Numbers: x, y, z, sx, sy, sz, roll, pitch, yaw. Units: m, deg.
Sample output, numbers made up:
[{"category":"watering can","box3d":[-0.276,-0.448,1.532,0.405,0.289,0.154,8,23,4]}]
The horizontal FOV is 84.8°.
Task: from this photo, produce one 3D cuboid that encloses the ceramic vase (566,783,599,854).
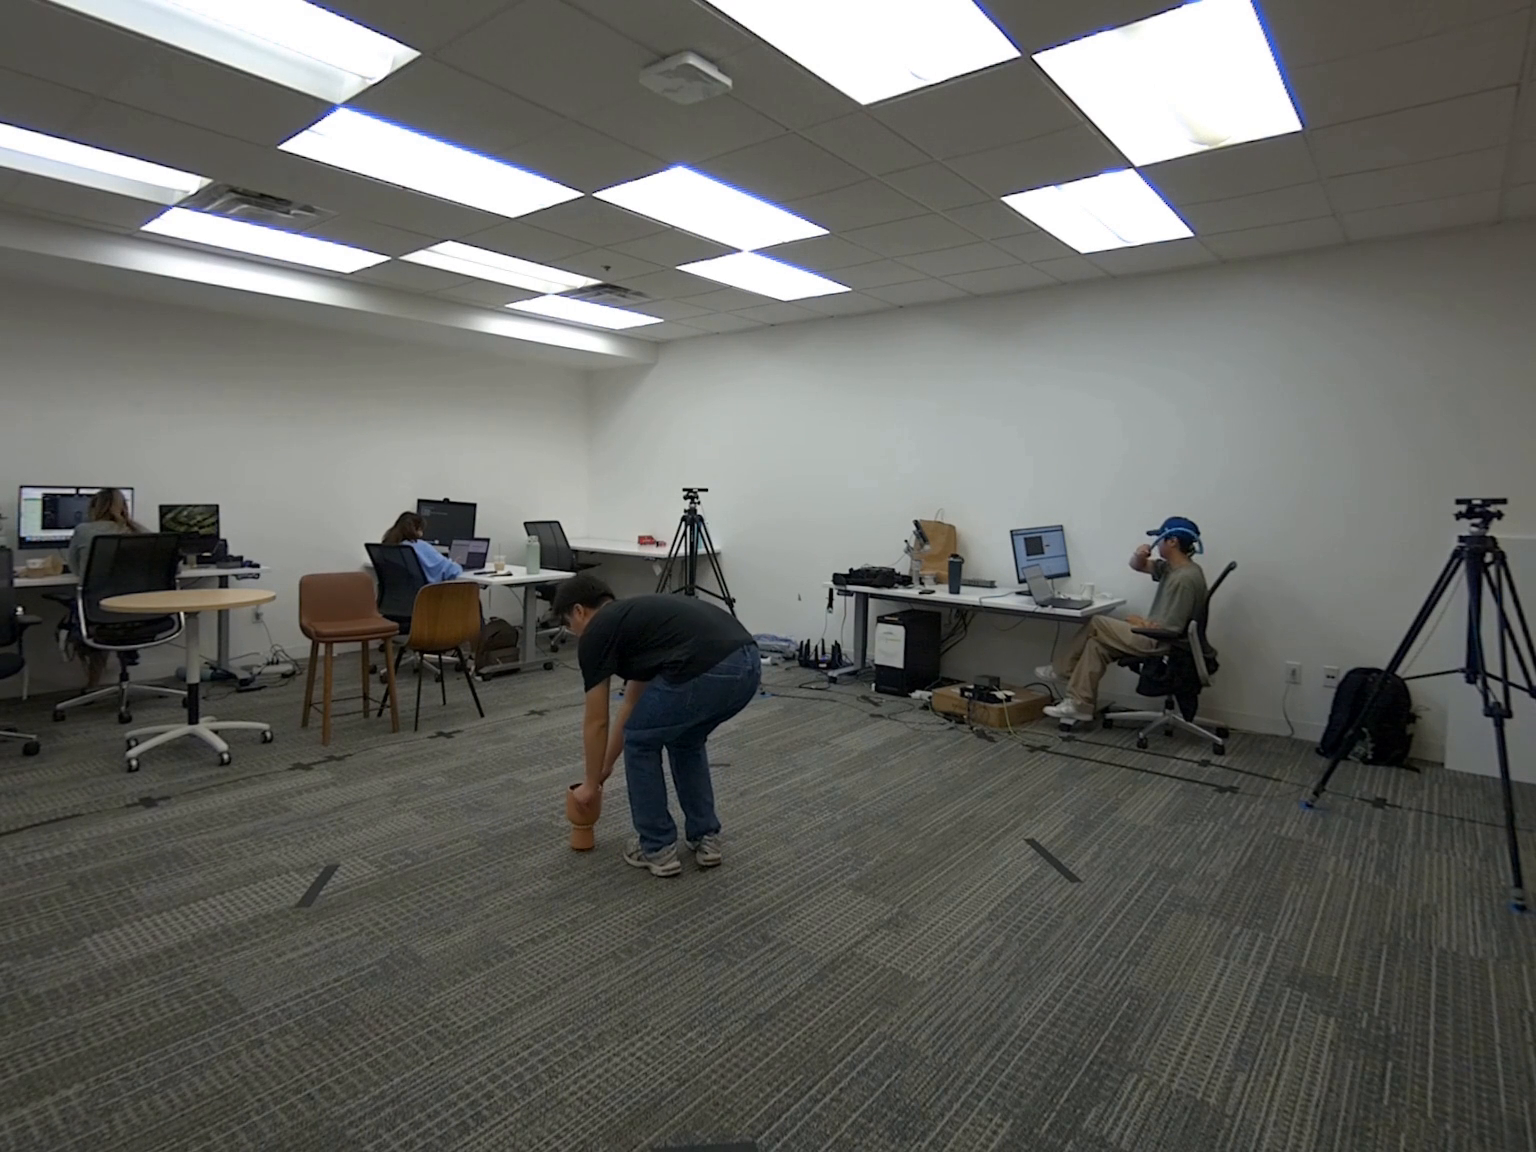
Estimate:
[{"category":"ceramic vase","box3d":[-0.722,0.910,3.291,0.139,0.219,0.154,3,4,31]}]
